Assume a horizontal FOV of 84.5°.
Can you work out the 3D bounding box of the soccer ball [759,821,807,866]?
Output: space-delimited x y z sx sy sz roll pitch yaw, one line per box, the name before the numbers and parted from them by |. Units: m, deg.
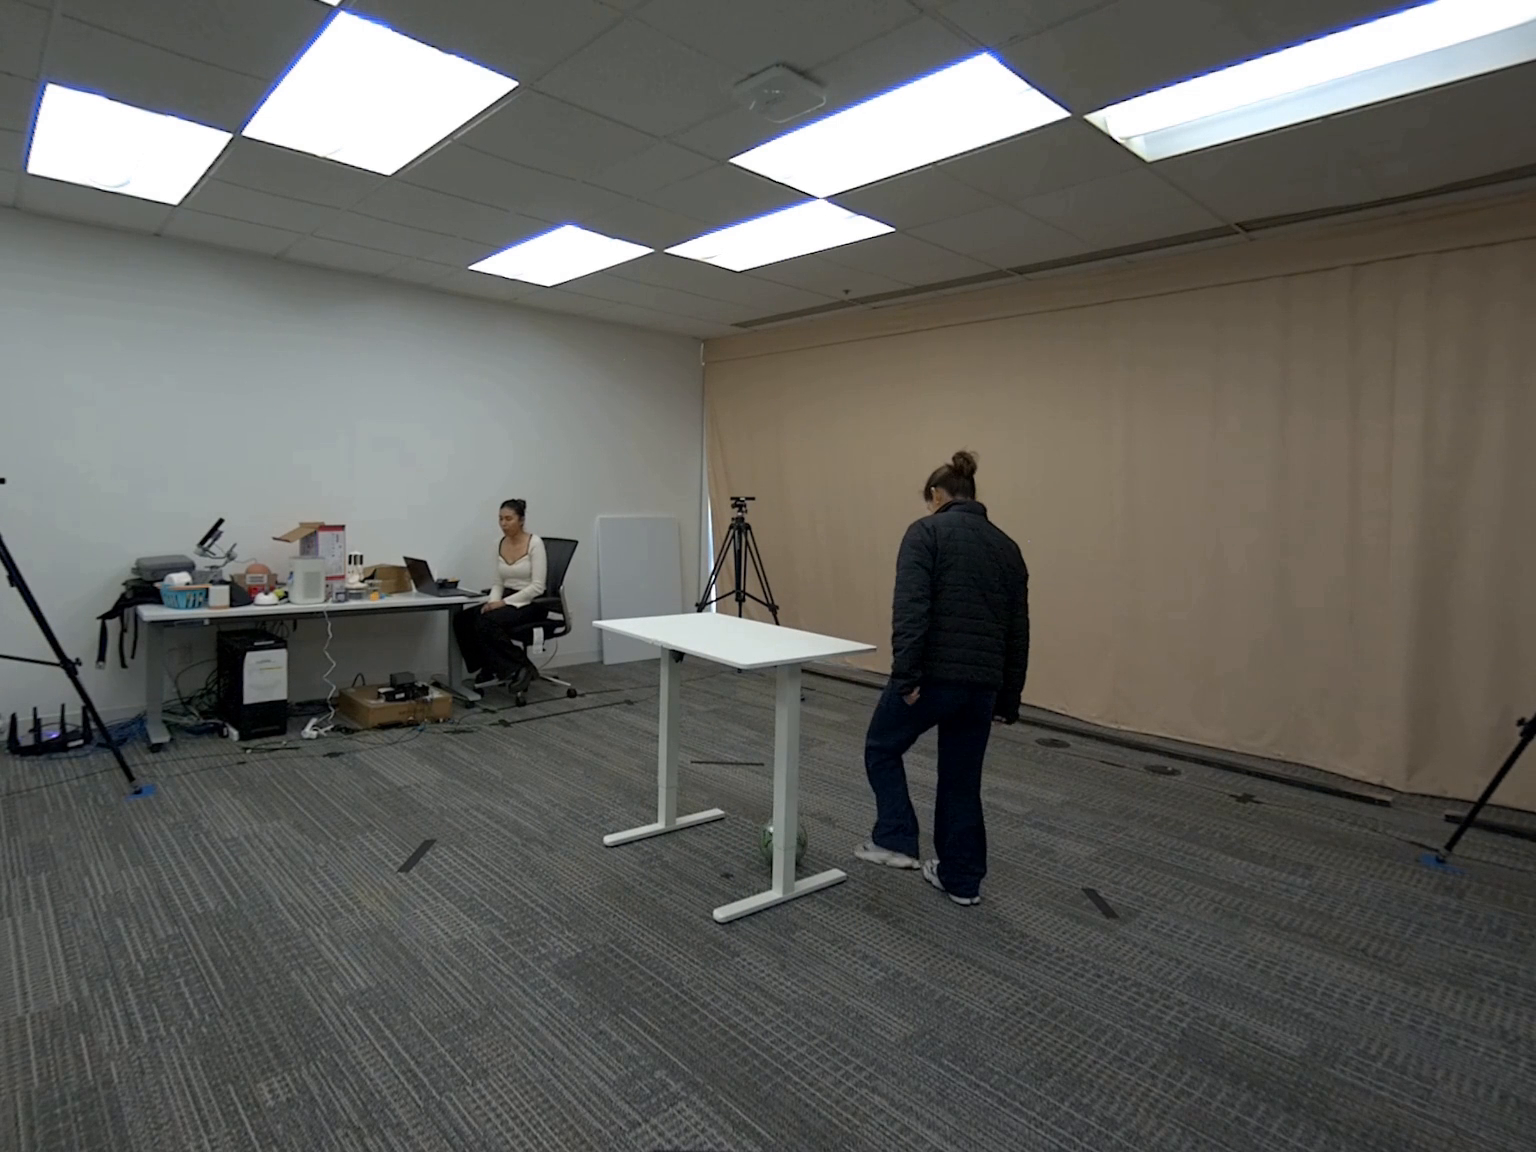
soccer ball | 0.051 1.014 3.203 0.187 0.187 0.188 1 4 -1
